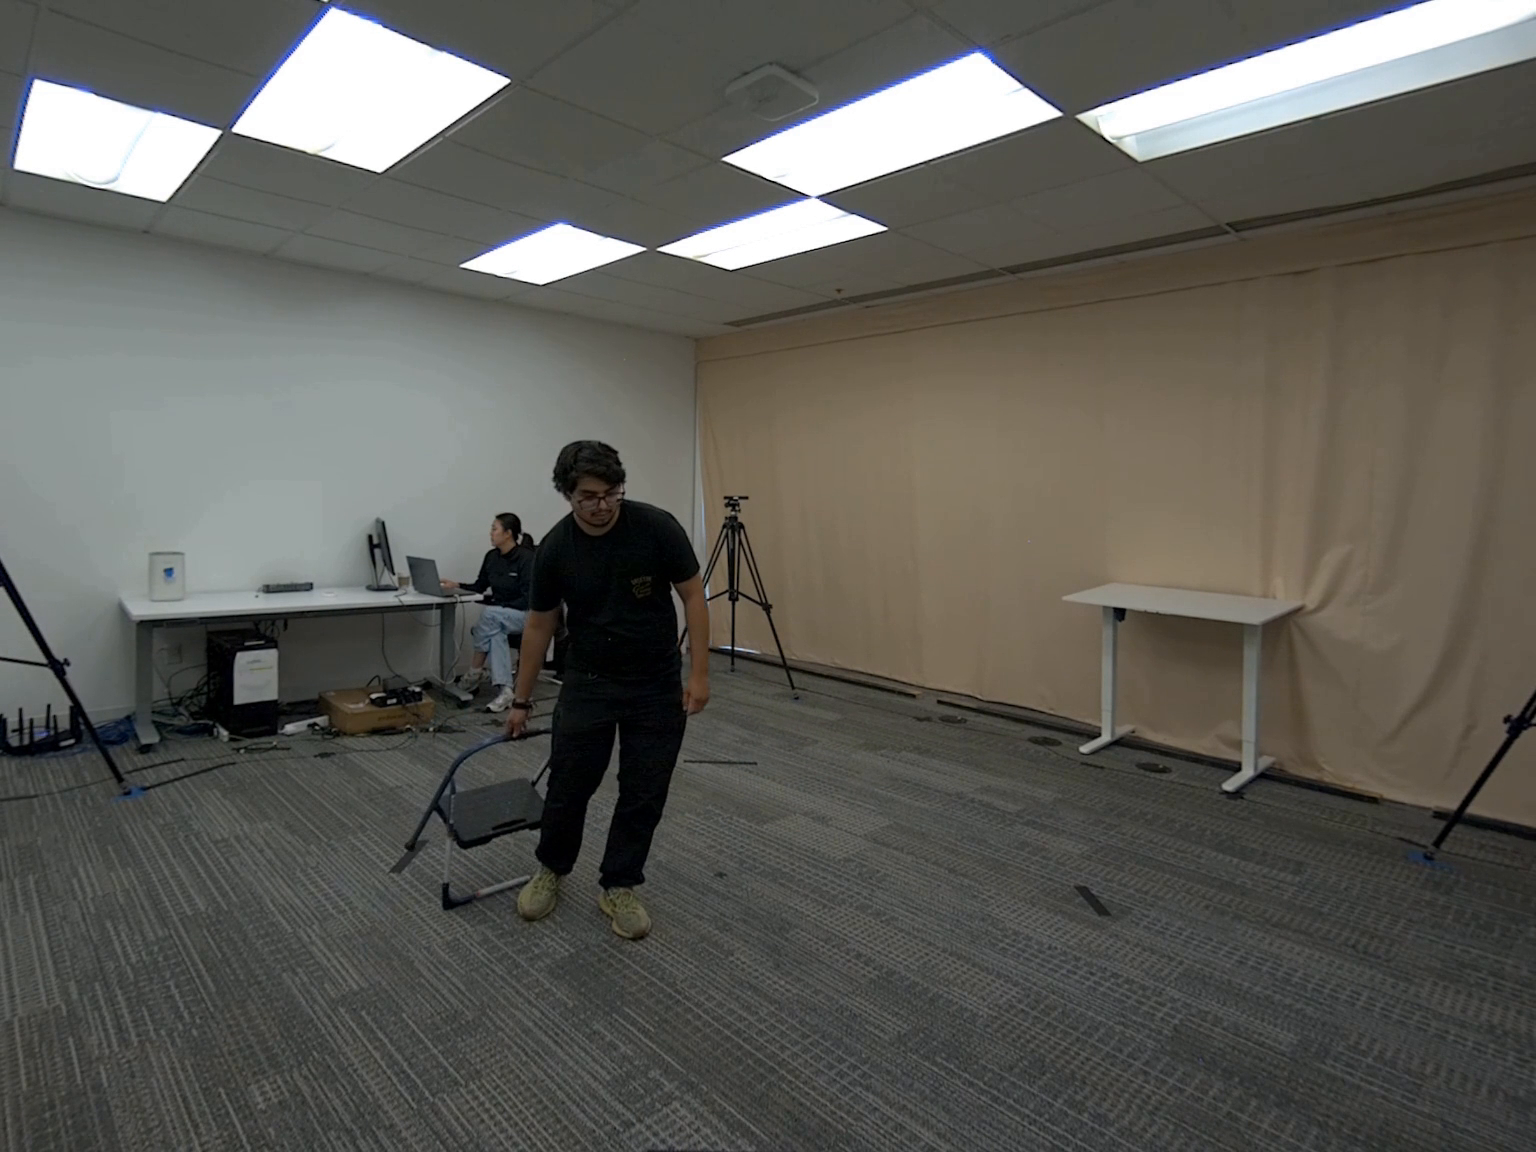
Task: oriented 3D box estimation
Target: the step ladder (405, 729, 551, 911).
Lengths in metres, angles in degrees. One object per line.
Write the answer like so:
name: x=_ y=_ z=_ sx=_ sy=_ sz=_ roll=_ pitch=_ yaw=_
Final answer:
step ladder: x=-0.961 y=0.760 z=2.946 sx=0.421 sy=0.600 sz=0.360 roll=-3 pitch=28 yaw=-43
